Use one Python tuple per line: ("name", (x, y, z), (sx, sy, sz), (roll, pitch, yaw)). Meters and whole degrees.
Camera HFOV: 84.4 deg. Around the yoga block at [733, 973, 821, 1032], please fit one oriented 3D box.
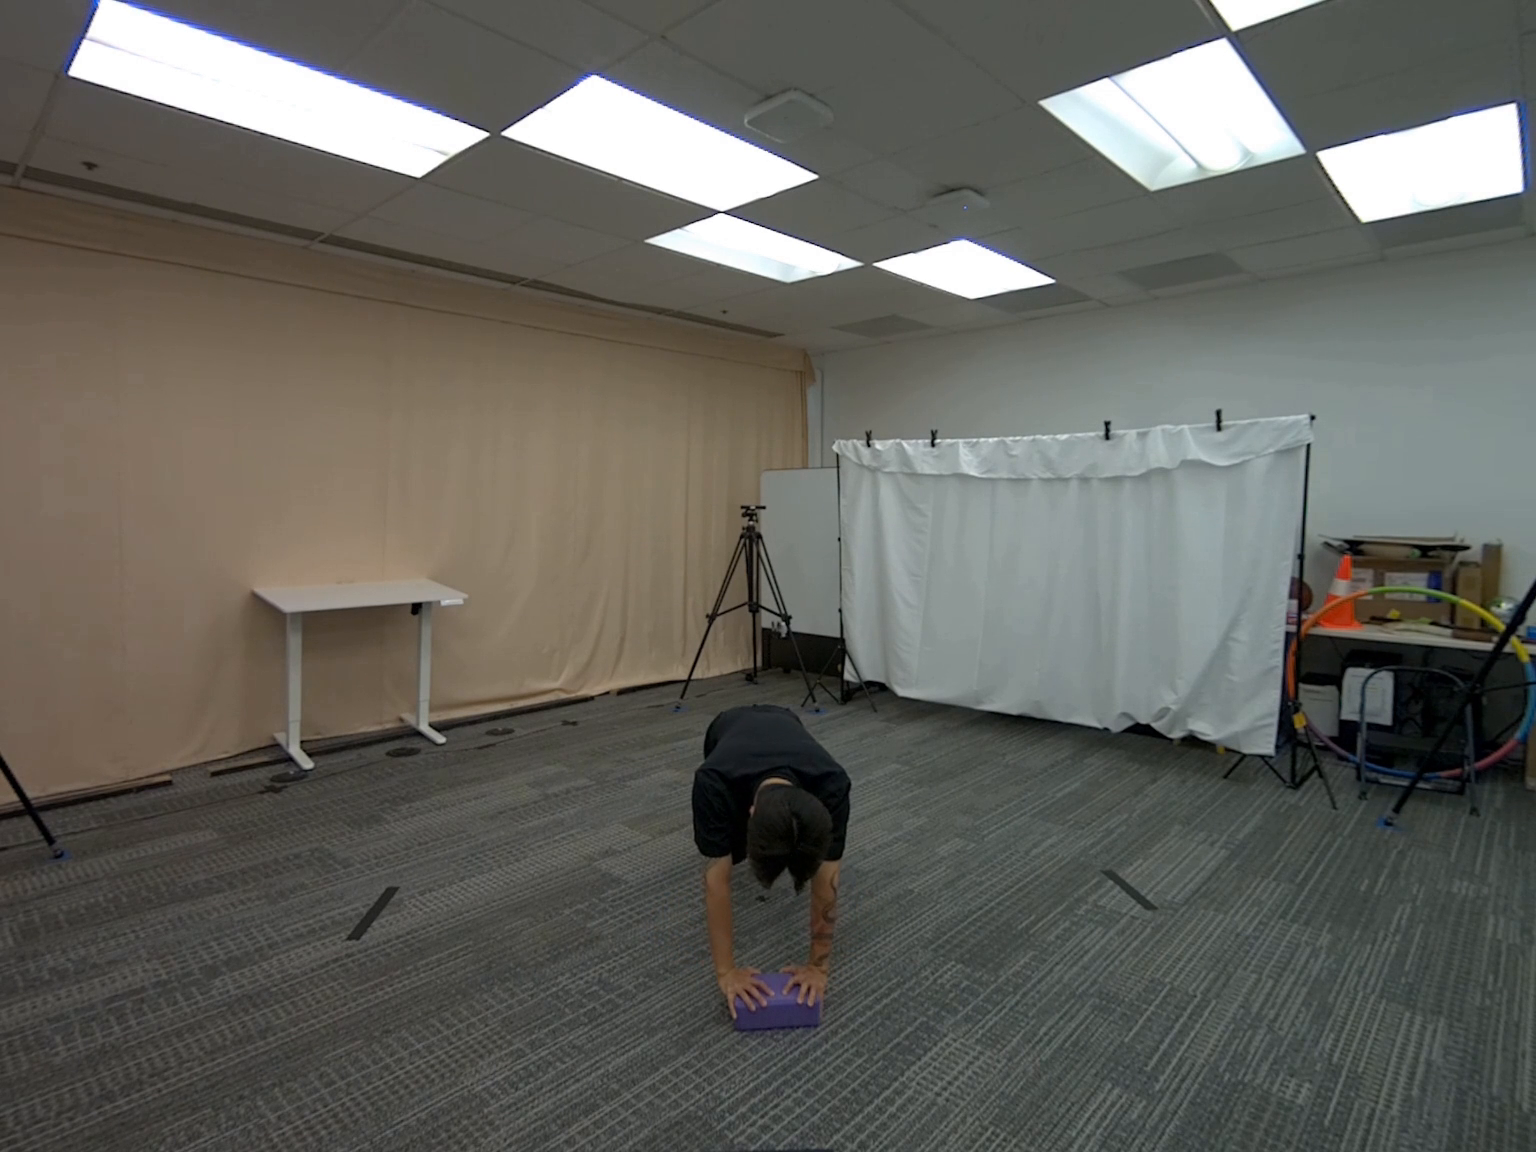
("yoga block", (0.010, 1.161, 2.307), (0.228, 0.076, 0.150), (0, 6, -7))
